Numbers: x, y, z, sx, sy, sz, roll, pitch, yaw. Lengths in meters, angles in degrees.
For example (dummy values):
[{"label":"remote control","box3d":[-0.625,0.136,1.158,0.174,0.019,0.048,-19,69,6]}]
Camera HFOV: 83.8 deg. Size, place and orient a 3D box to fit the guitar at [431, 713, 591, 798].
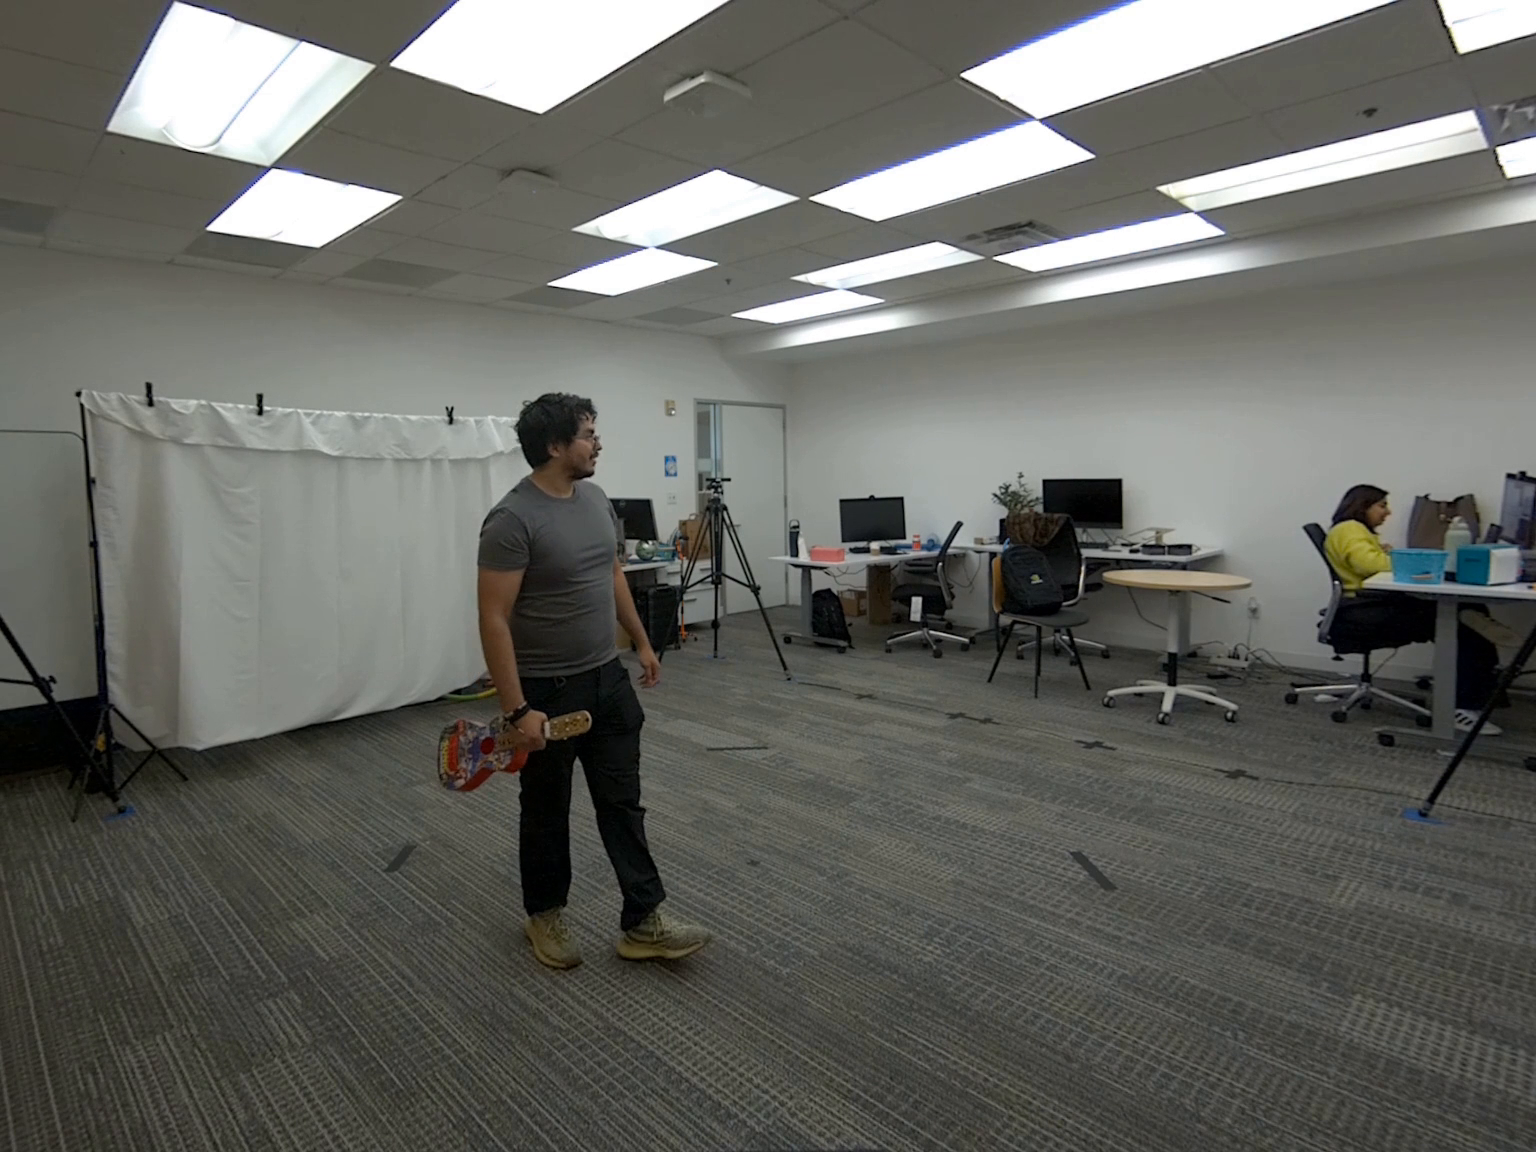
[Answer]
[{"label":"guitar","box3d":[-0.667,0.483,2.293,0.506,0.196,0.068,-7,-23,21]}]
